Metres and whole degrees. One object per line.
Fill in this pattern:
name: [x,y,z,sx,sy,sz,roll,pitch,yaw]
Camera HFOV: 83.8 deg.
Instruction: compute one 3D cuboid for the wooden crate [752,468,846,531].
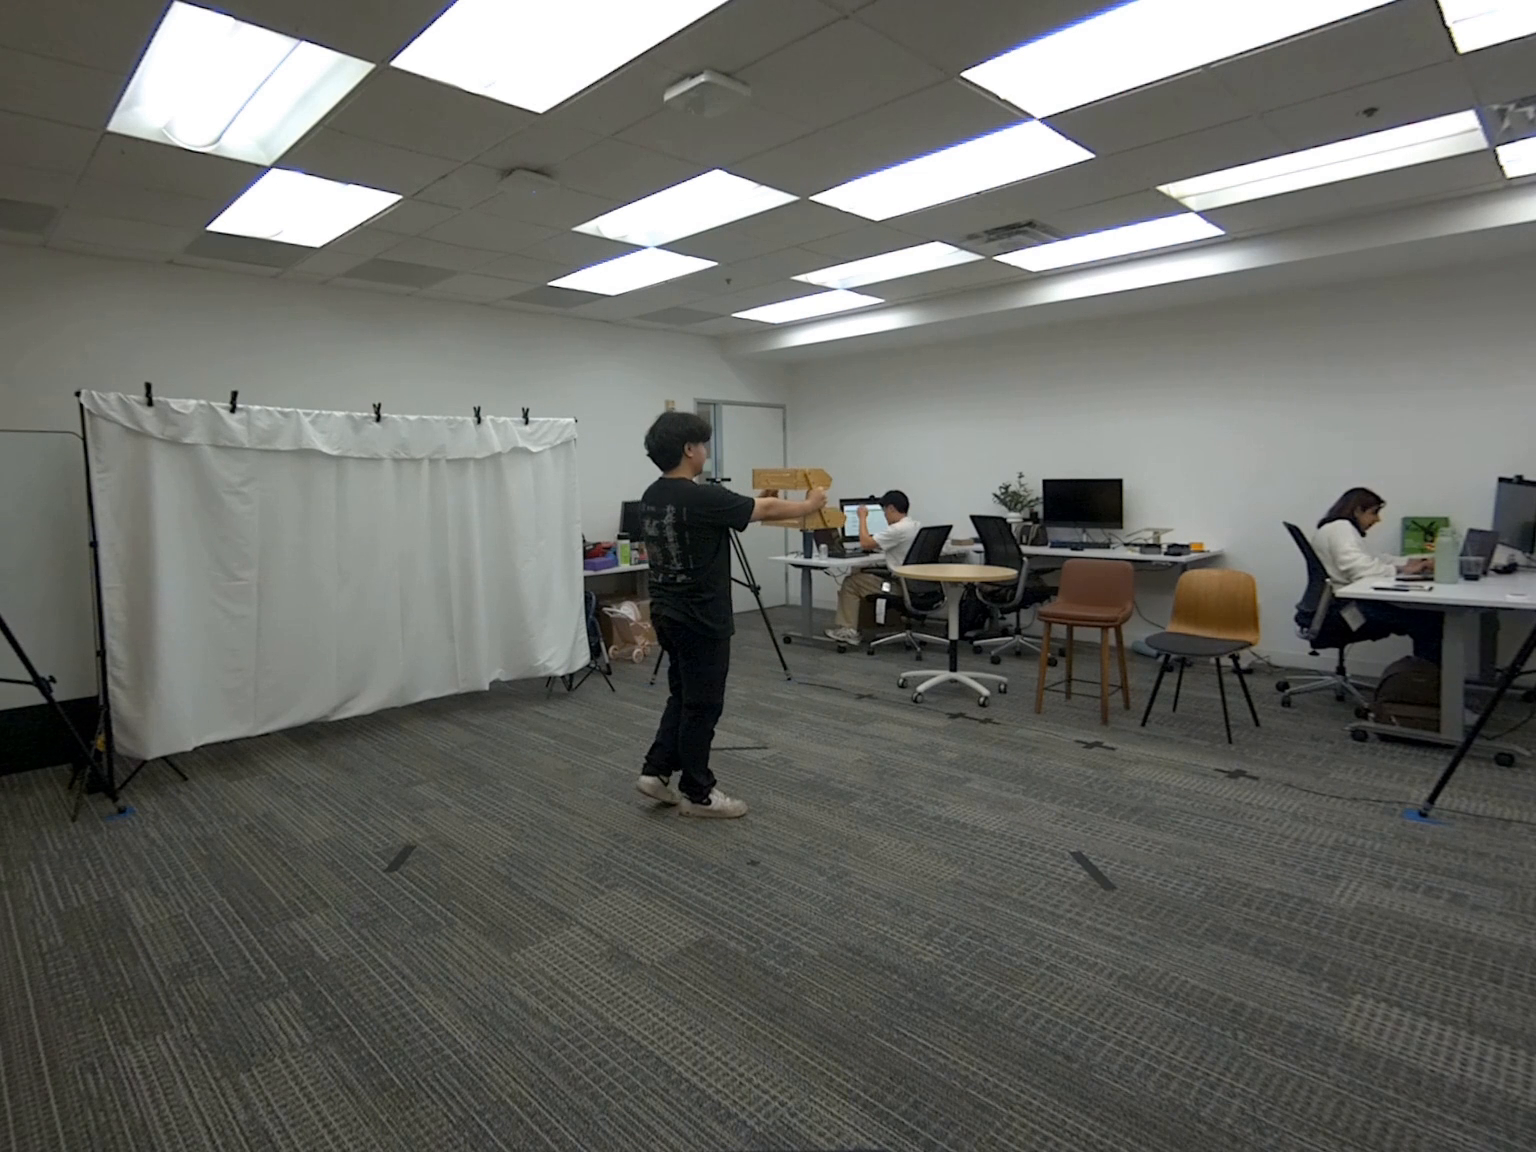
wooden crate: [0.146,-0.357,3.839,0.294,0.272,0.334,-5,8,-39]
